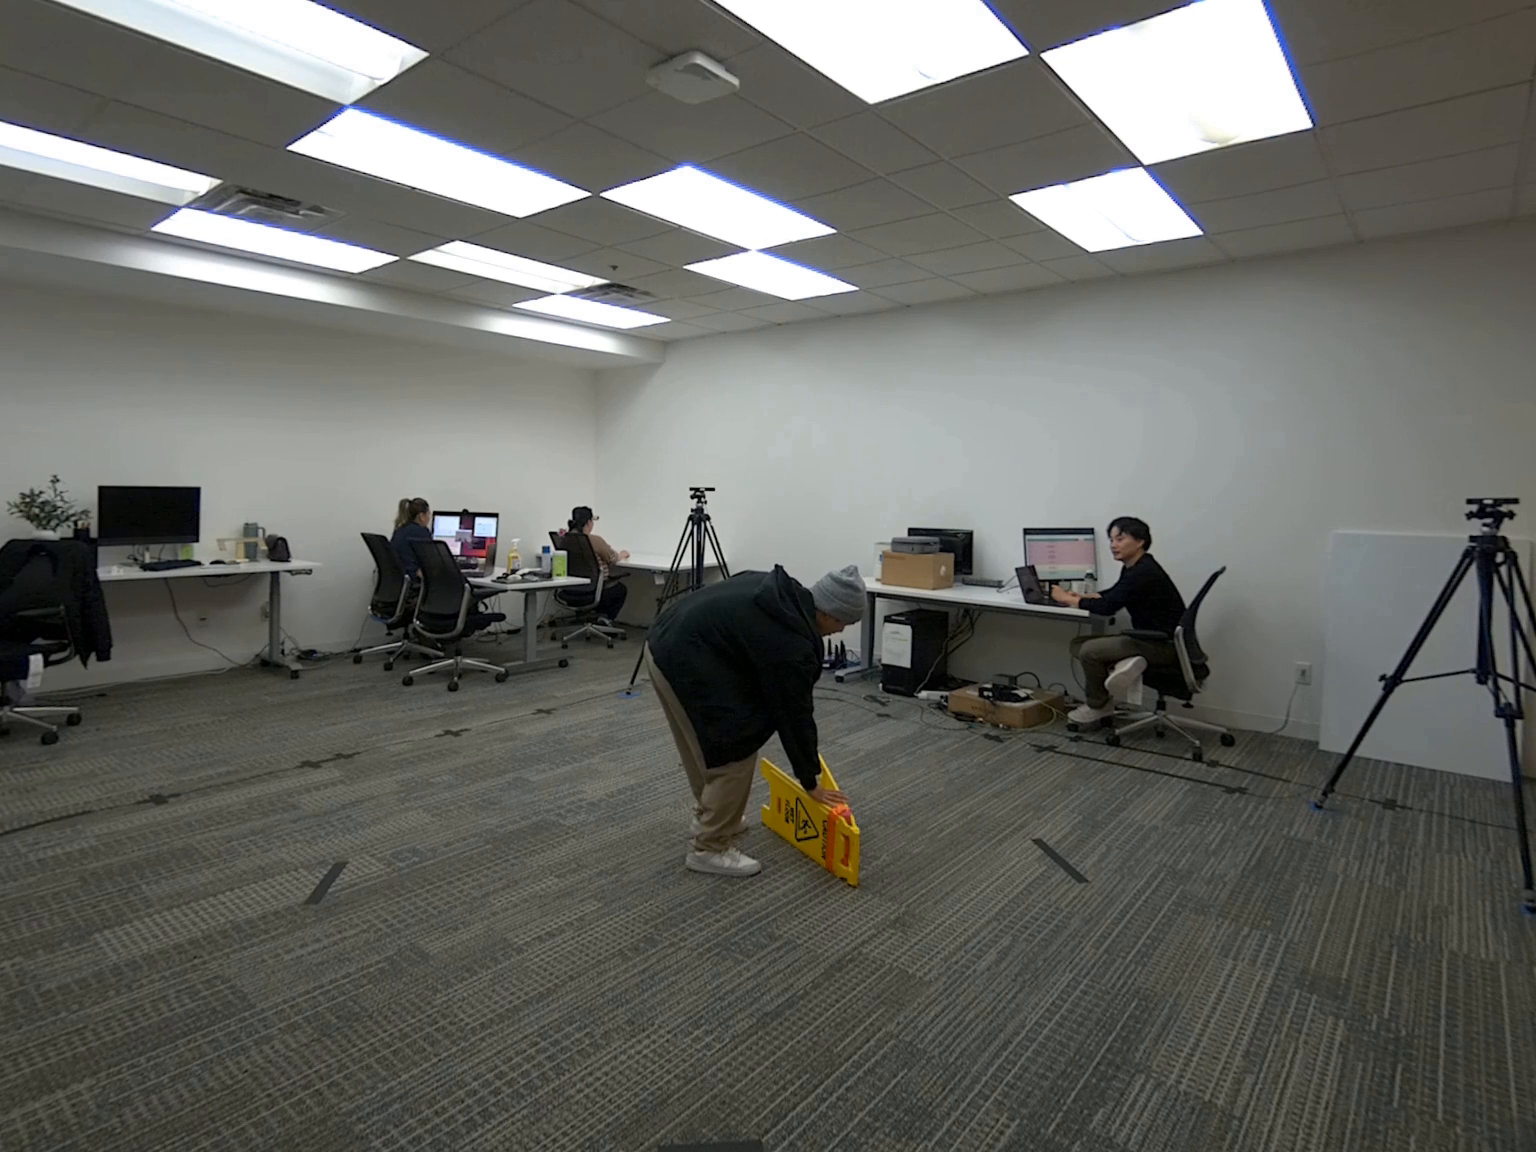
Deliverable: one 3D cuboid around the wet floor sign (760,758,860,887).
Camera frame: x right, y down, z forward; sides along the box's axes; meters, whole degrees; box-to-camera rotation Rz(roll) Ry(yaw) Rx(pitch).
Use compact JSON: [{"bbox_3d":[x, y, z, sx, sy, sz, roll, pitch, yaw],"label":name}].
[{"bbox_3d":[0.202,0.933,3.276,0.284,0.280,0.662,-1,9,-19],"label":"wet floor sign"}]
